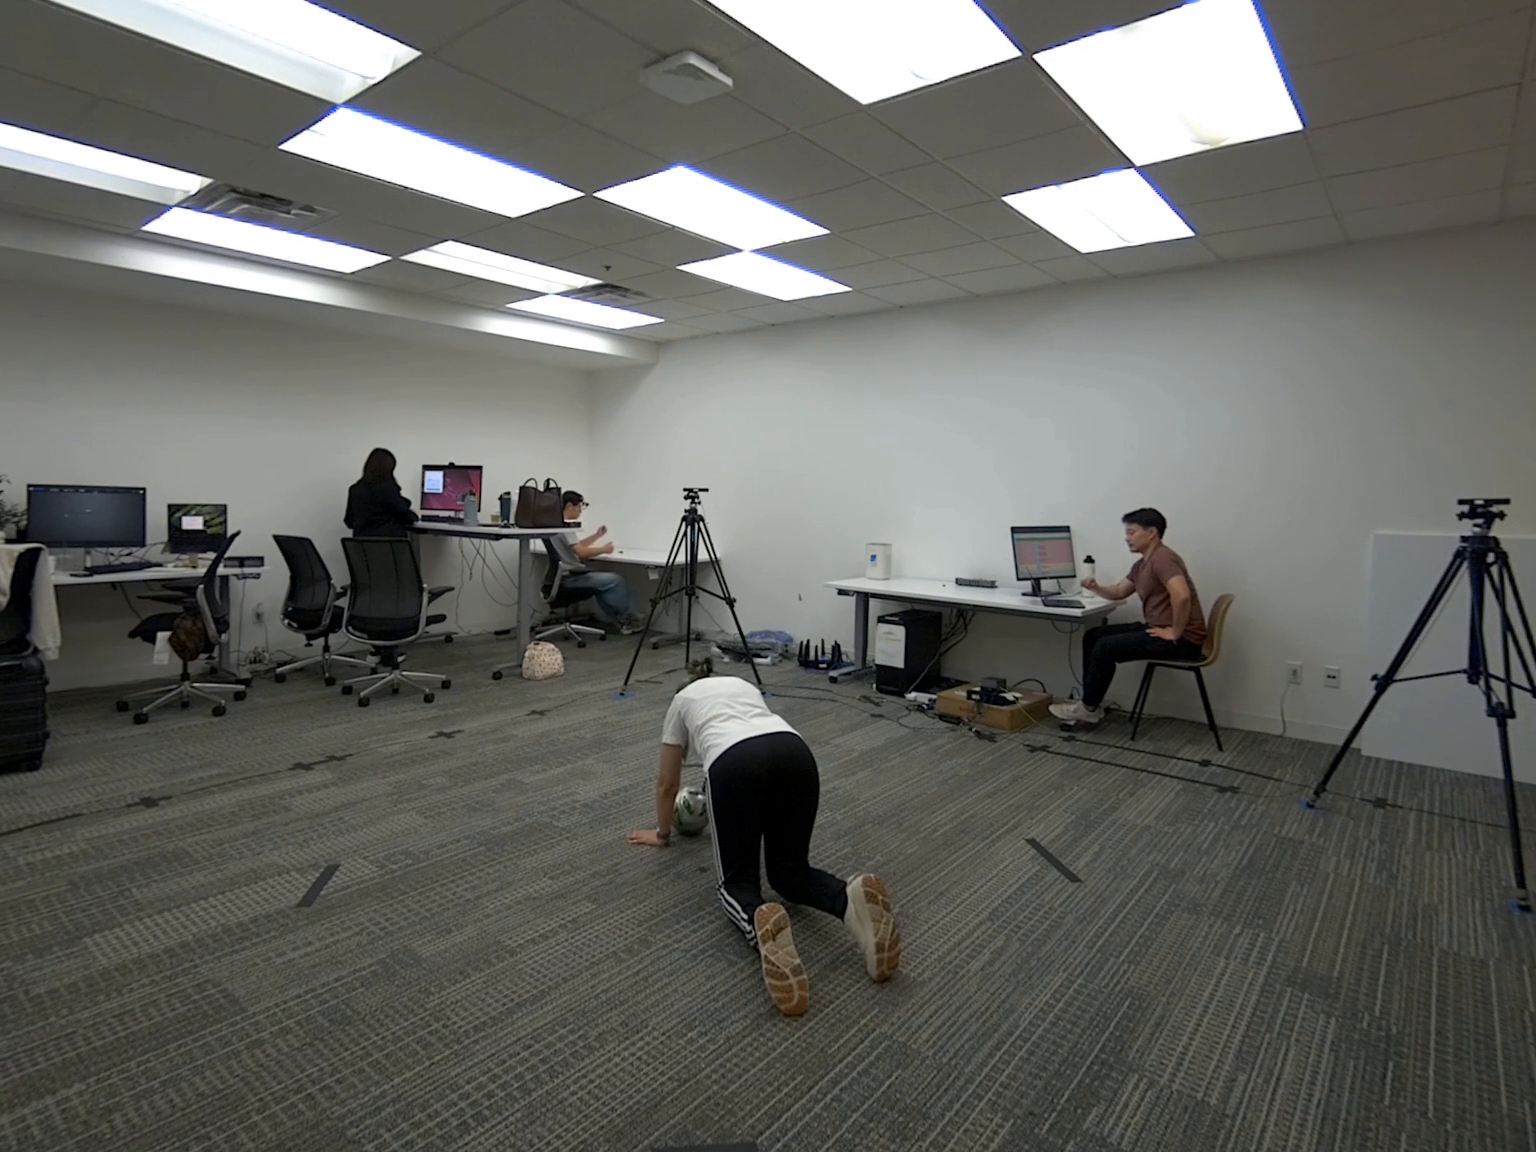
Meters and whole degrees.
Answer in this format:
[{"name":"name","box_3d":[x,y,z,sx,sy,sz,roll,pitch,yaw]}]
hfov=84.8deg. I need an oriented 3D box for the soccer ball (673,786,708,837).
[{"name":"soccer ball","box_3d":[-0.328,0.943,3.440,0.187,0.187,0.188,1,4,-2]}]
